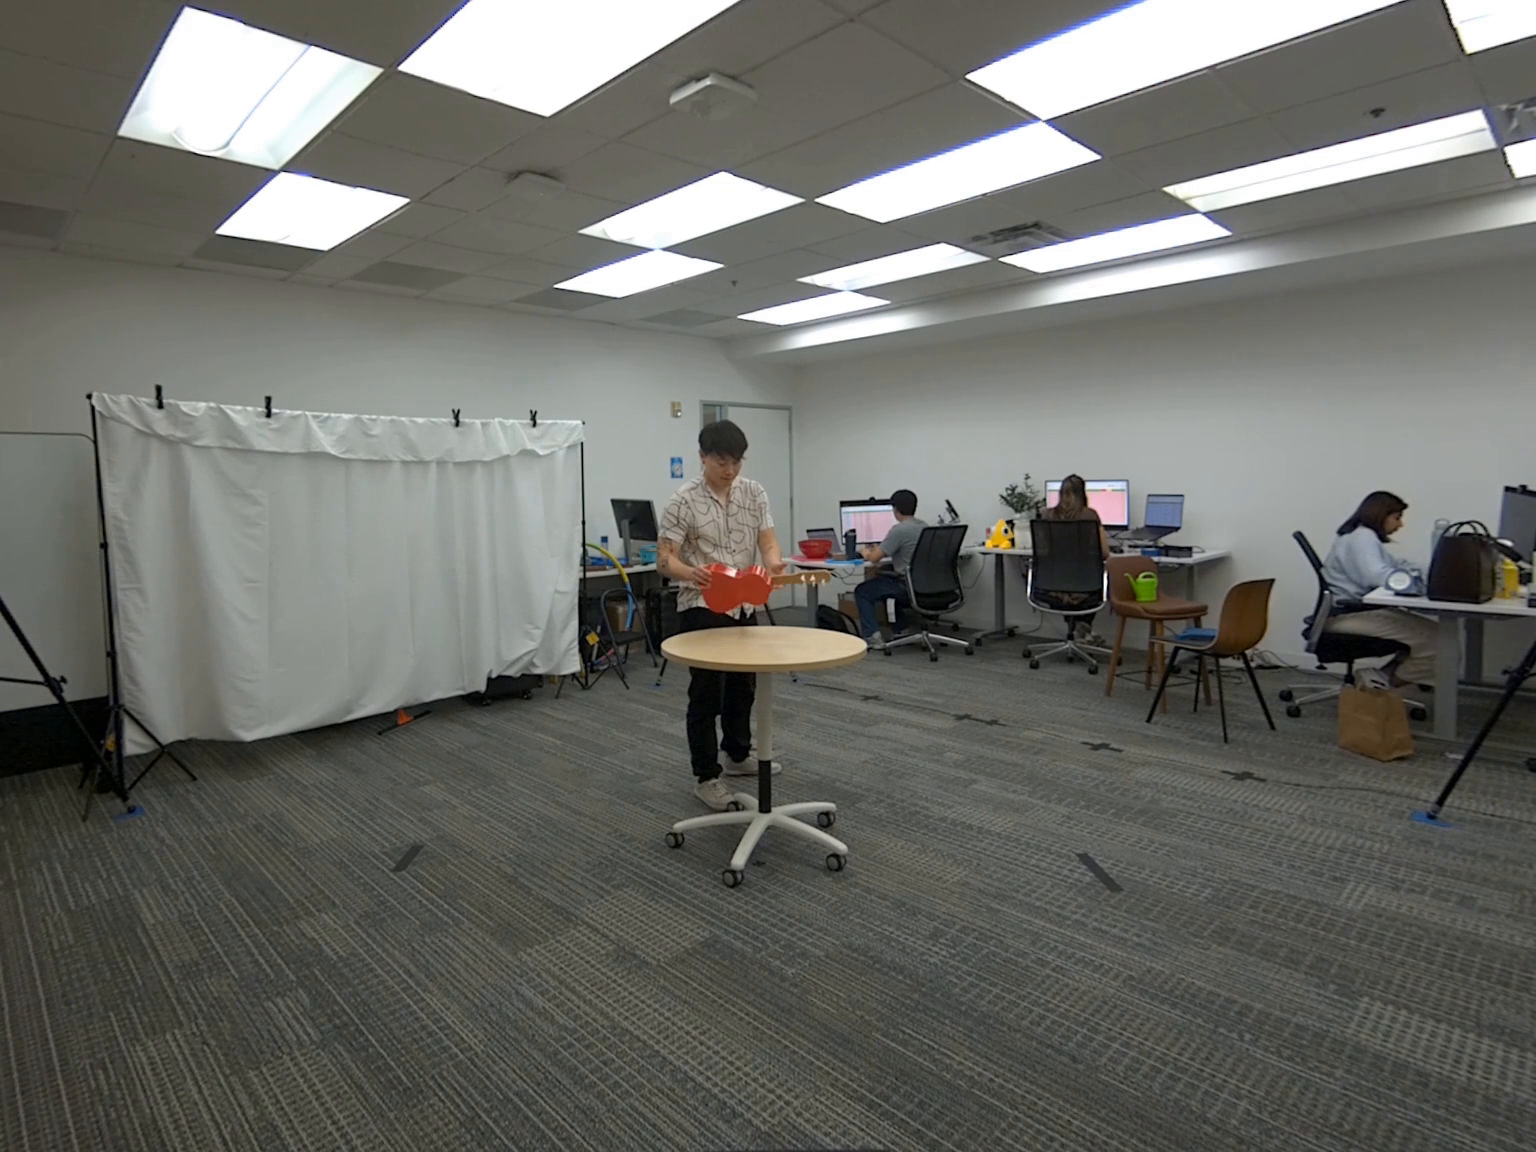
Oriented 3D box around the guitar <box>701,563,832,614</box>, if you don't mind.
[{"bbox_3d":[-0.031,0.016,3.266,0.506,0.188,0.071,-11,27,22],"label":"guitar"}]
